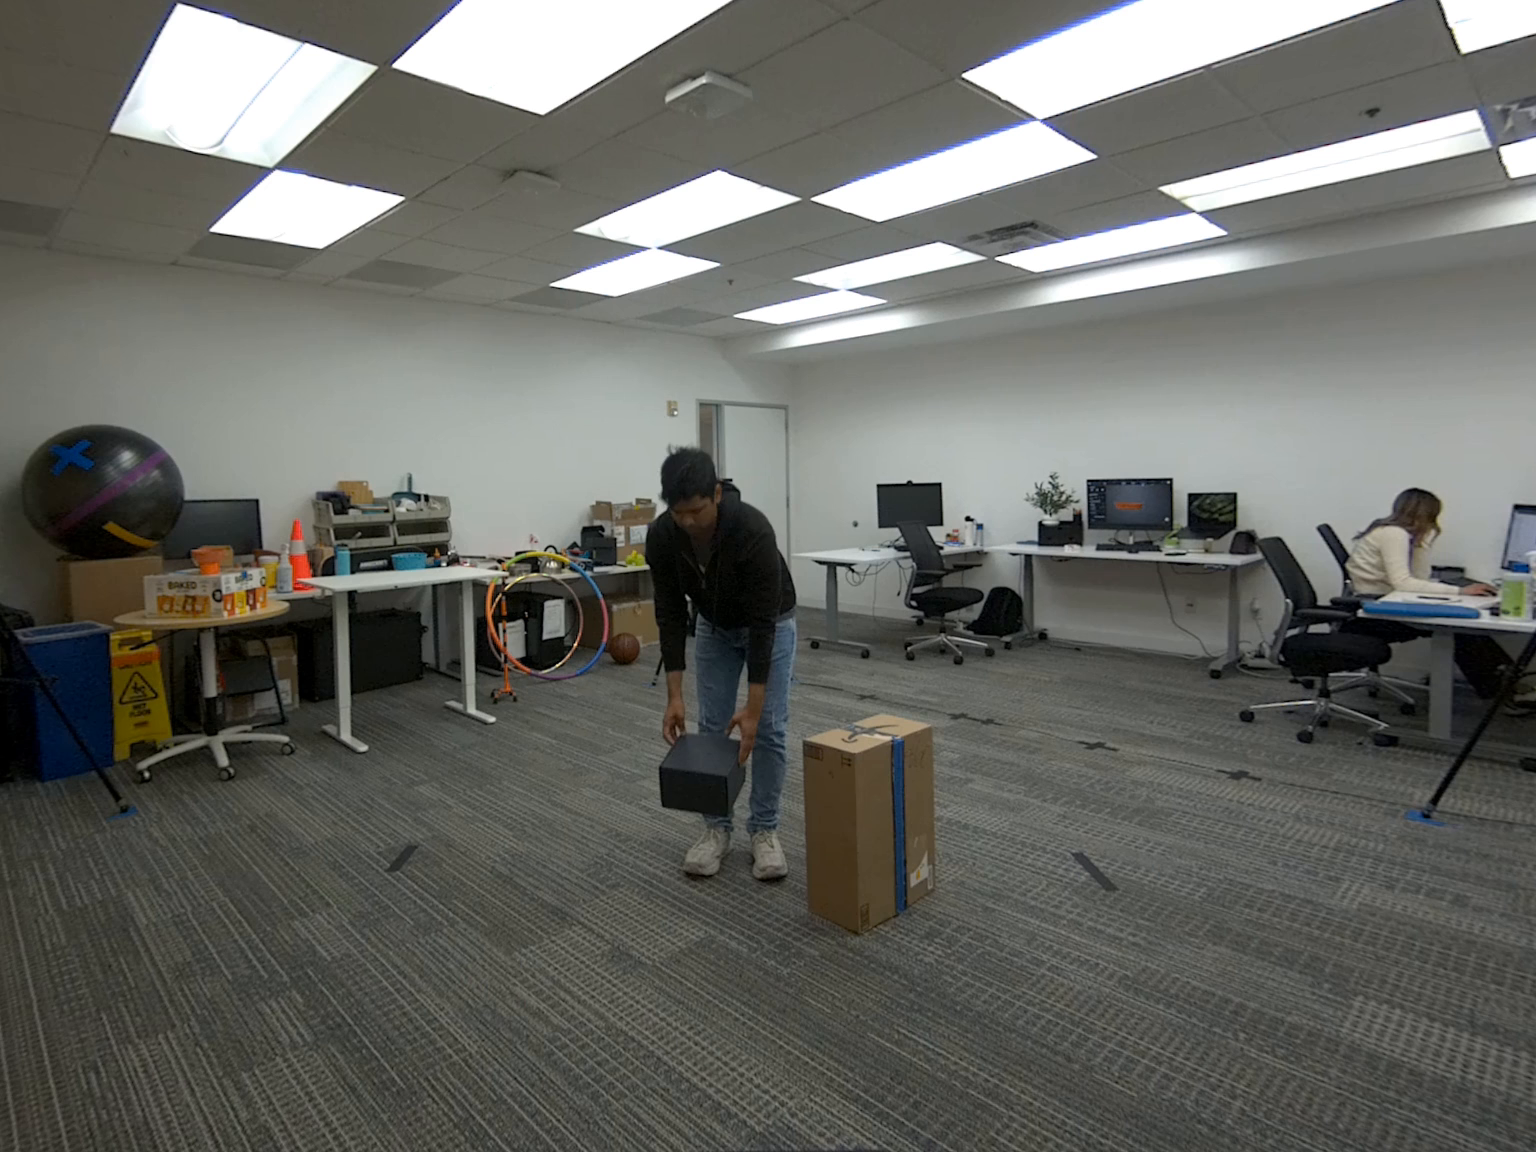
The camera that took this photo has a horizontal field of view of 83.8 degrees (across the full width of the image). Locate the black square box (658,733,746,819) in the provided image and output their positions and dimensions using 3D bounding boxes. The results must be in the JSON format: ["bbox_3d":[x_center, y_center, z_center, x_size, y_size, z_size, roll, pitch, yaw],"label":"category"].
[{"bbox_3d":[-0.207,0.654,2.800,0.232,0.153,0.217,3,19,16],"label":"black square box"}]
